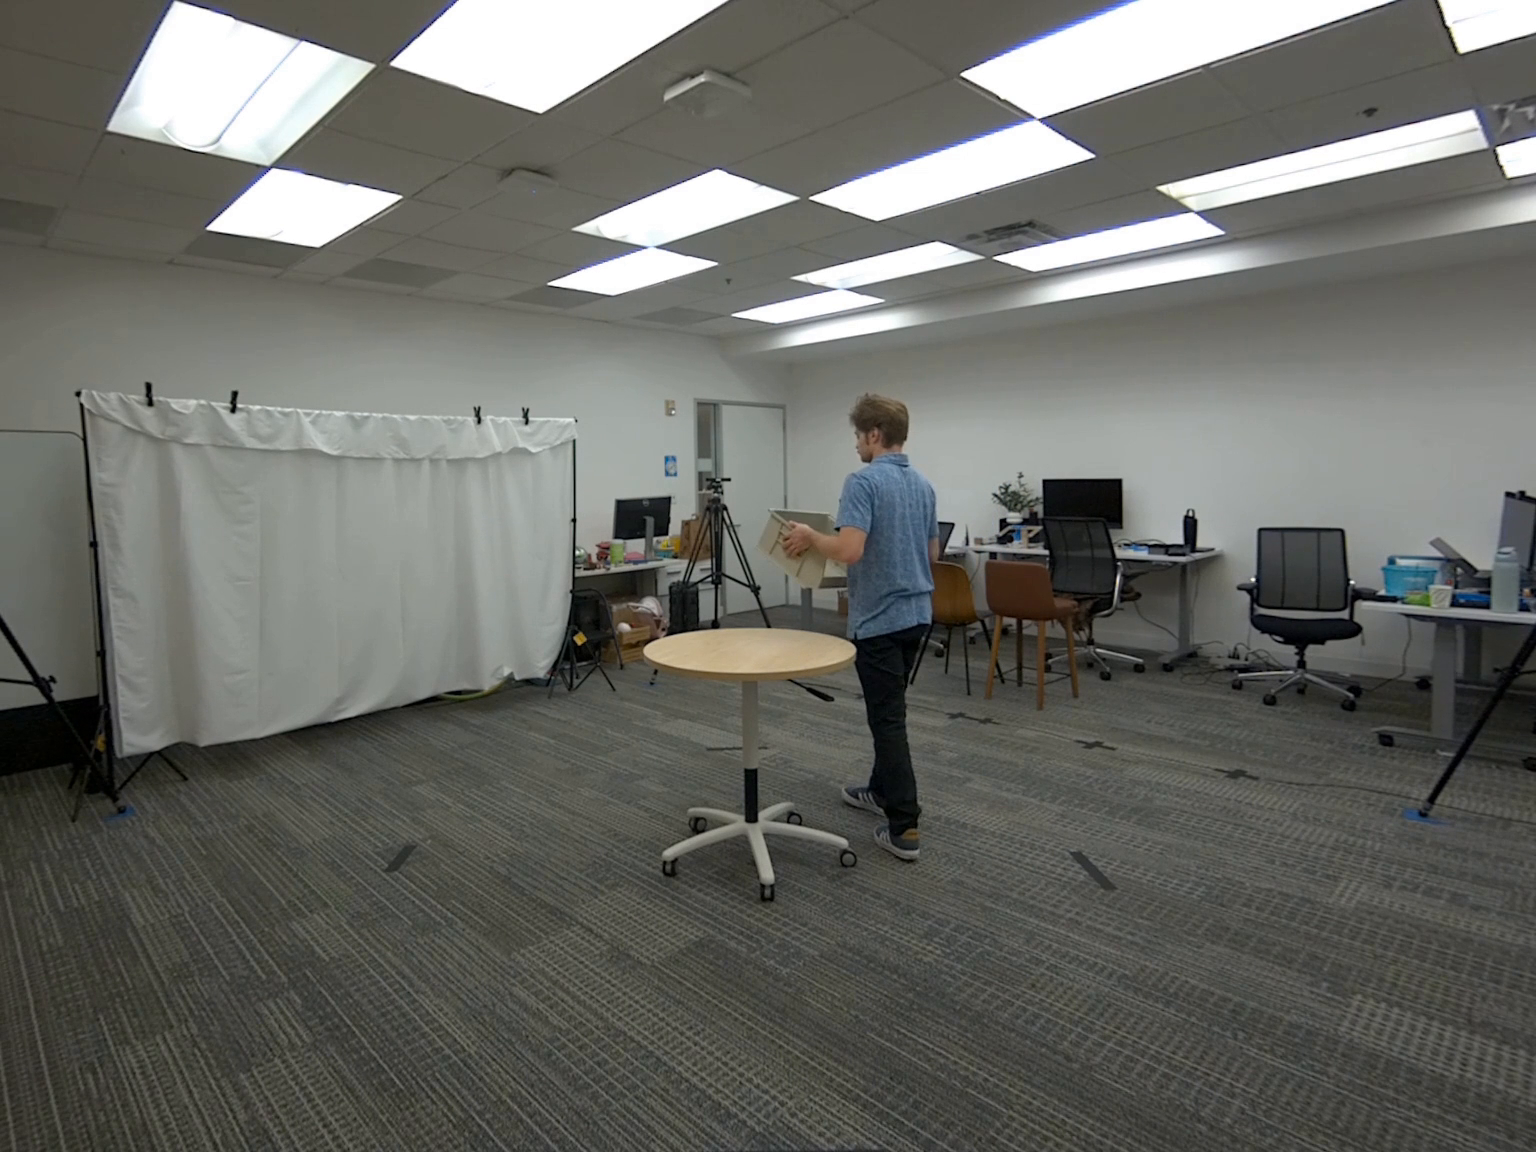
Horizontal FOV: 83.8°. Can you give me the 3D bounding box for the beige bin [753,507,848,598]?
[{"bbox_3d":[0.235,-0.103,3.578,0.410,0.187,0.392,0,31,-48],"label":"beige bin"}]
